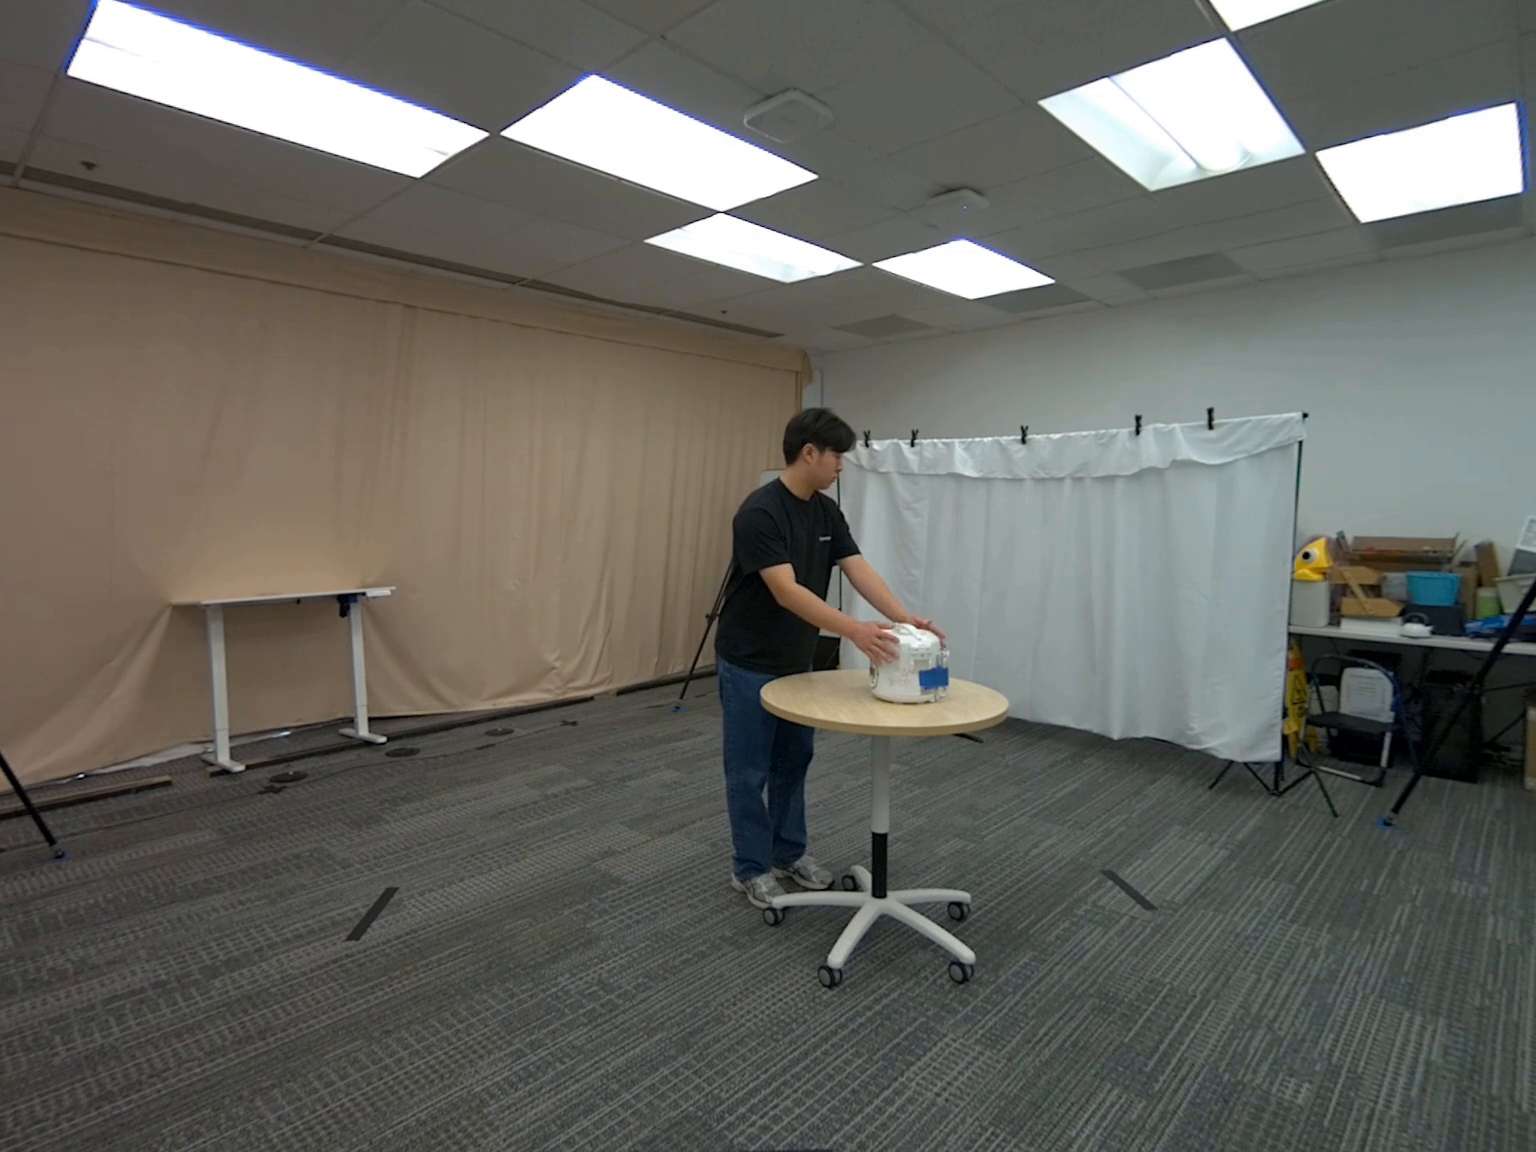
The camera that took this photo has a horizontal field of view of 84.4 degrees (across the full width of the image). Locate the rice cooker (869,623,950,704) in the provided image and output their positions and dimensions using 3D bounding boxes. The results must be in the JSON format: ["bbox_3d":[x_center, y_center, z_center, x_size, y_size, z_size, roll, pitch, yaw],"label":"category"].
[{"bbox_3d":[0.429,0.264,2.601,0.214,0.232,0.224,-1,3,-16],"label":"rice cooker"}]
